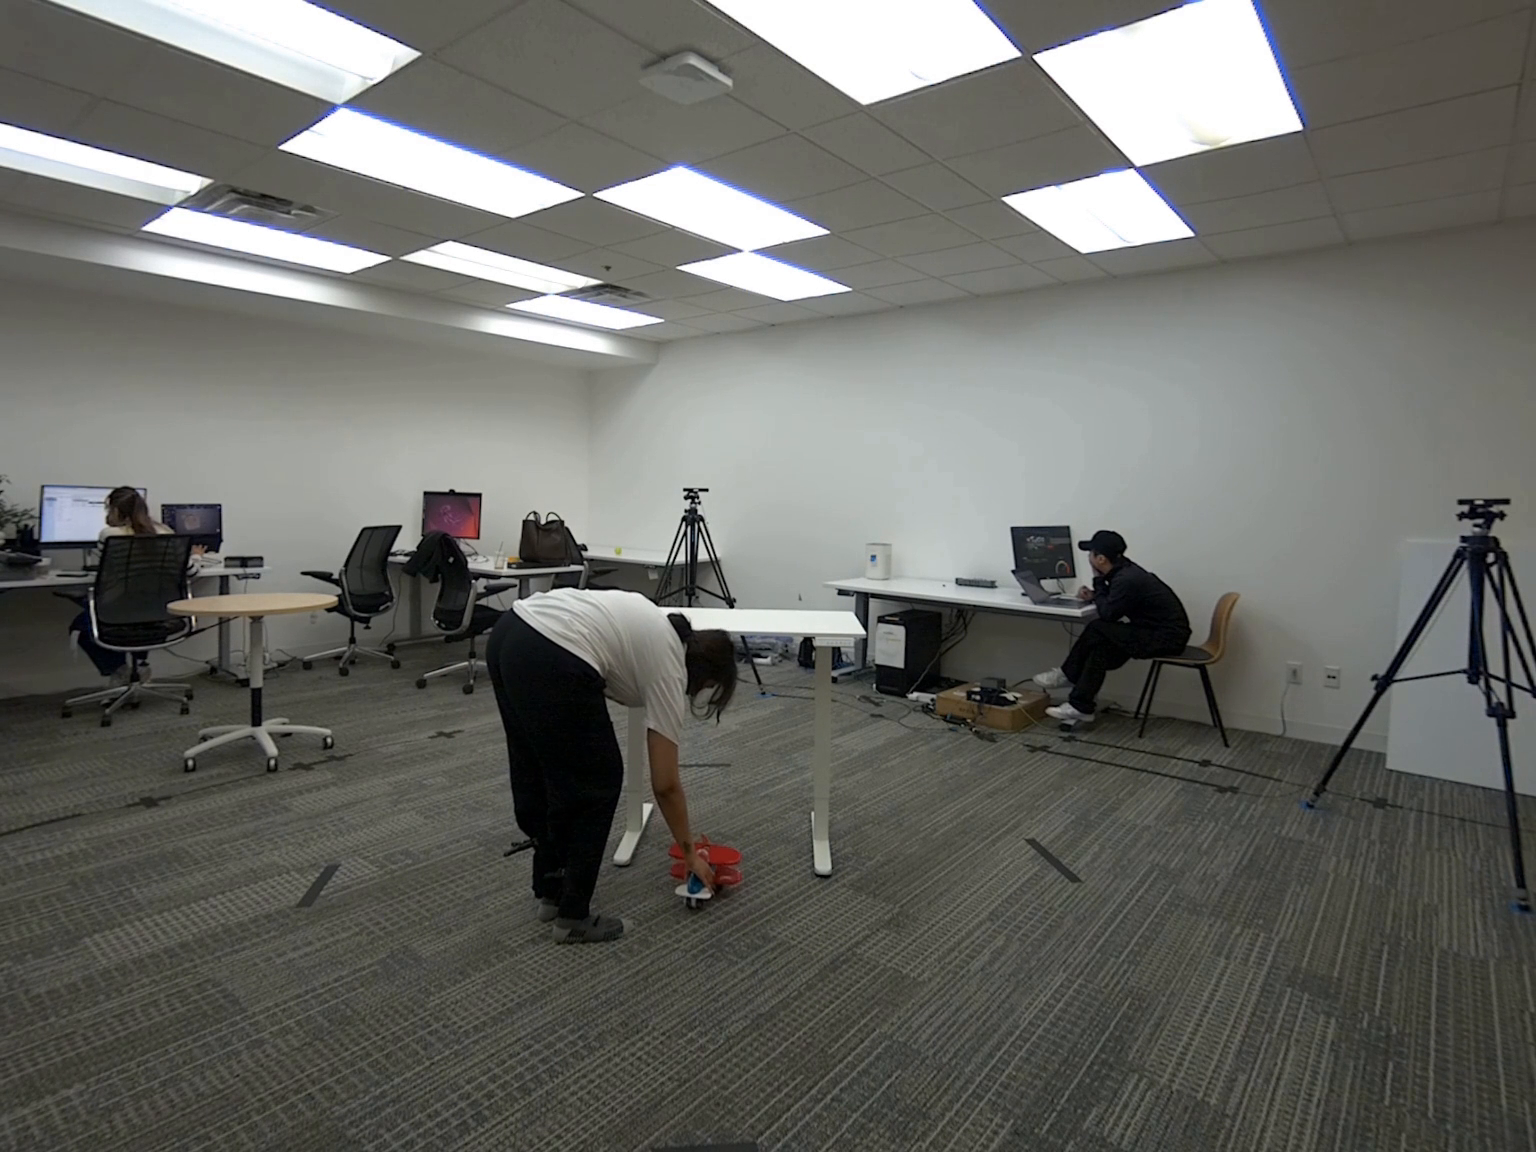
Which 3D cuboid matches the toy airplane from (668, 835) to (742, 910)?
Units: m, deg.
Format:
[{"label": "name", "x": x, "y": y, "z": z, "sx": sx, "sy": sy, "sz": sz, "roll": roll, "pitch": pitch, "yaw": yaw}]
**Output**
[{"label": "toy airplane", "x": -0.212, "y": 1.012, "z": 2.896, "sx": 0.247, "sy": 0.156, "sz": 0.264, "roll": -1, "pitch": 3, "yaw": -18}]
